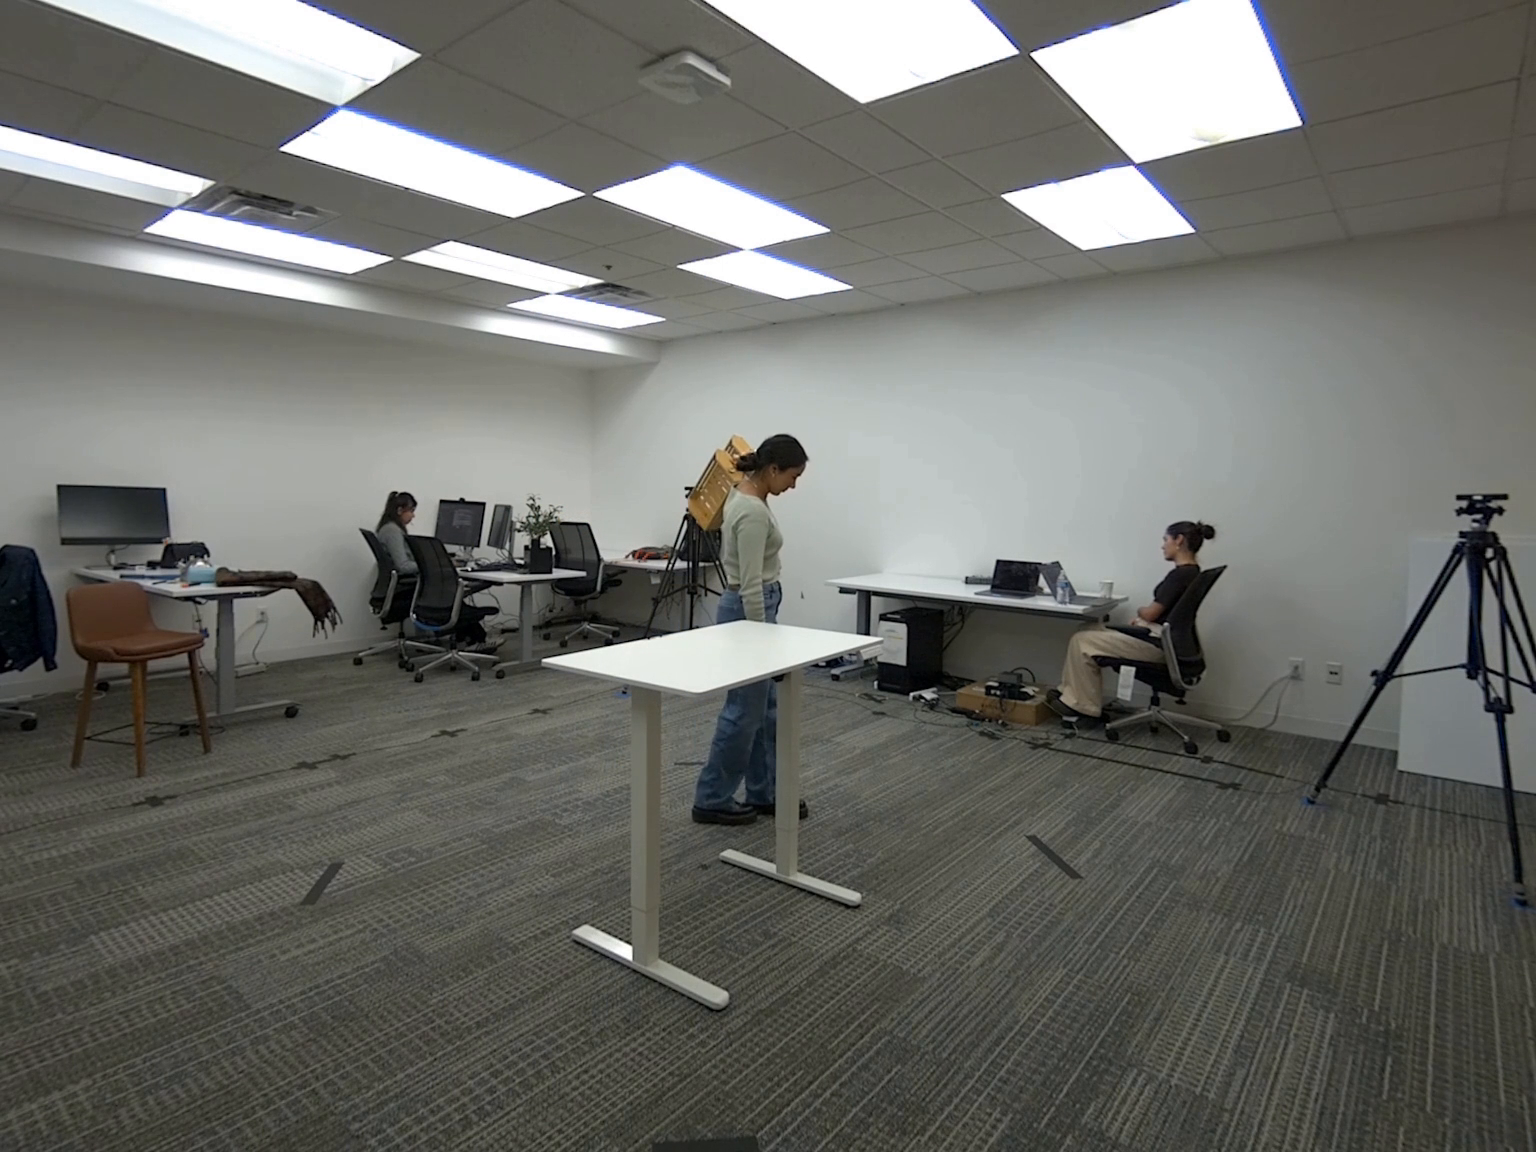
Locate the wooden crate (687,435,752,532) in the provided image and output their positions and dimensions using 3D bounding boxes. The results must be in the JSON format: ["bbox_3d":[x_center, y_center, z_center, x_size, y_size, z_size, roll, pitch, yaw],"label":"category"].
[{"bbox_3d":[-0.223,-0.433,3.860,0.266,0.322,0.312,-10,54,-44],"label":"wooden crate"}]
